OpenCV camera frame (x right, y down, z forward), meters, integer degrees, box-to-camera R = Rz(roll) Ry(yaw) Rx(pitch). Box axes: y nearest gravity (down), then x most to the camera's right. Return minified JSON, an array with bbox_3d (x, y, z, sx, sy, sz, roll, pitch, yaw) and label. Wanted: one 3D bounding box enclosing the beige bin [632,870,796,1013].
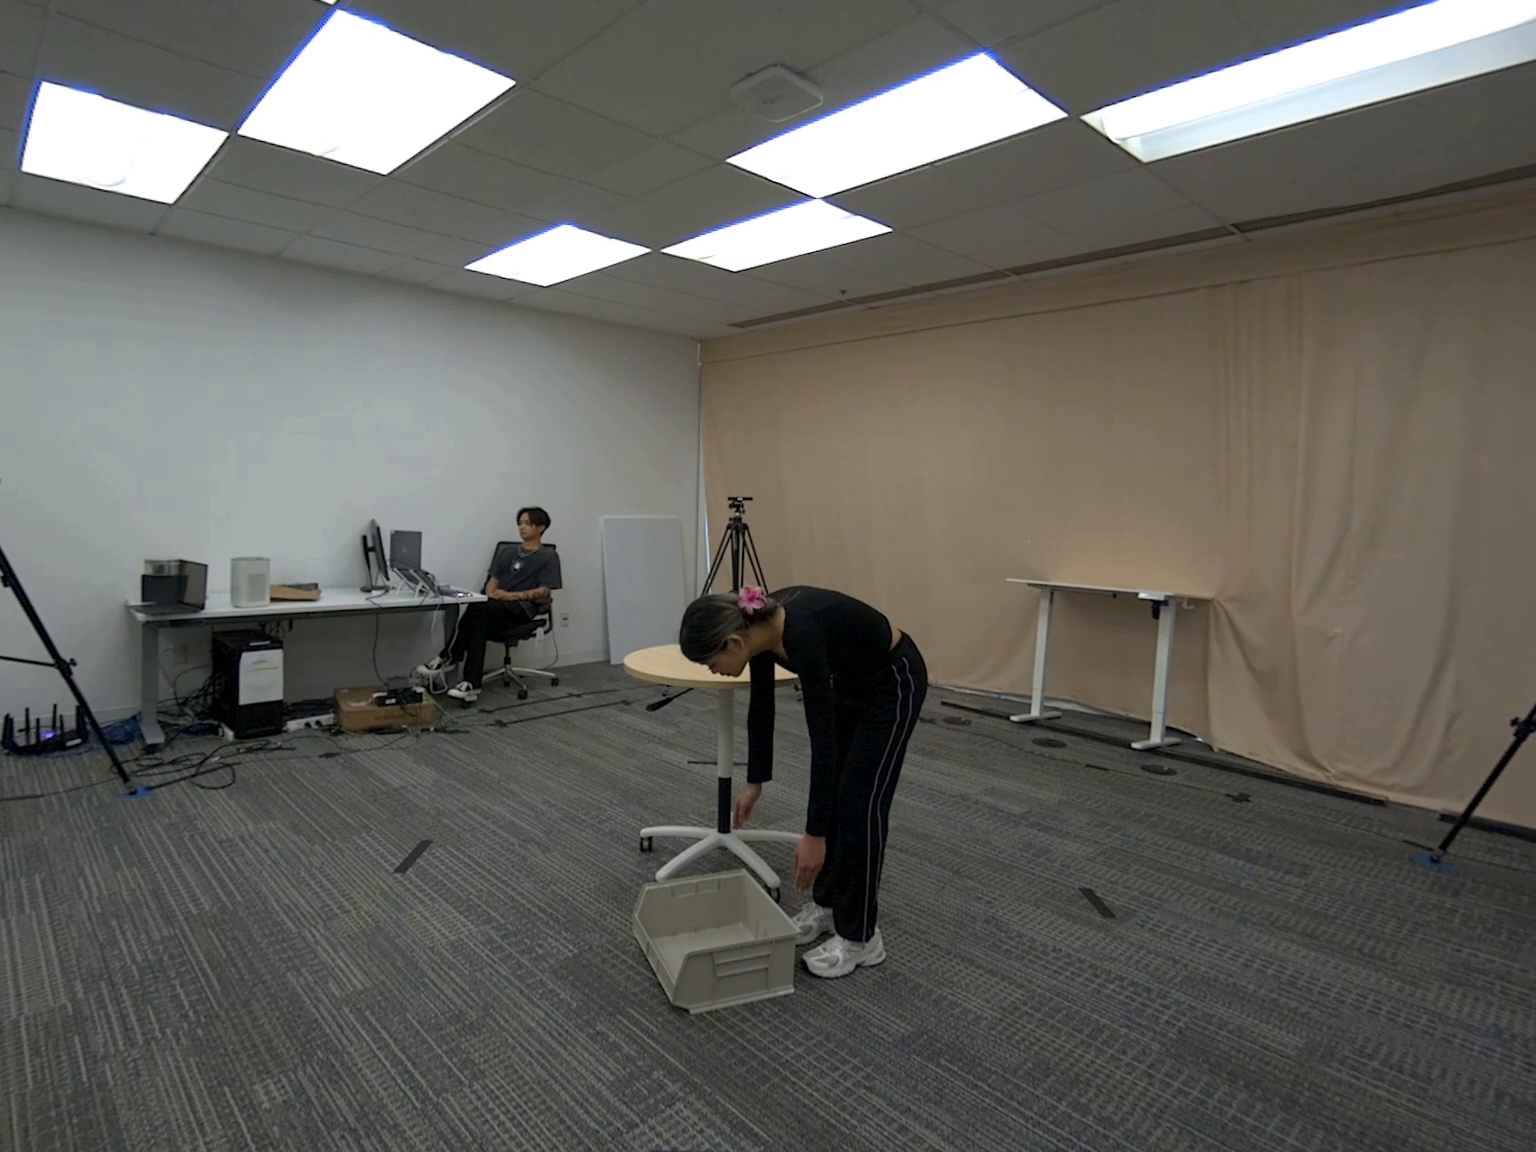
[{"bbox_3d":[-0.166,1.068,2.500,0.371,0.188,0.431,0,4,-24],"label":"beige bin"}]
